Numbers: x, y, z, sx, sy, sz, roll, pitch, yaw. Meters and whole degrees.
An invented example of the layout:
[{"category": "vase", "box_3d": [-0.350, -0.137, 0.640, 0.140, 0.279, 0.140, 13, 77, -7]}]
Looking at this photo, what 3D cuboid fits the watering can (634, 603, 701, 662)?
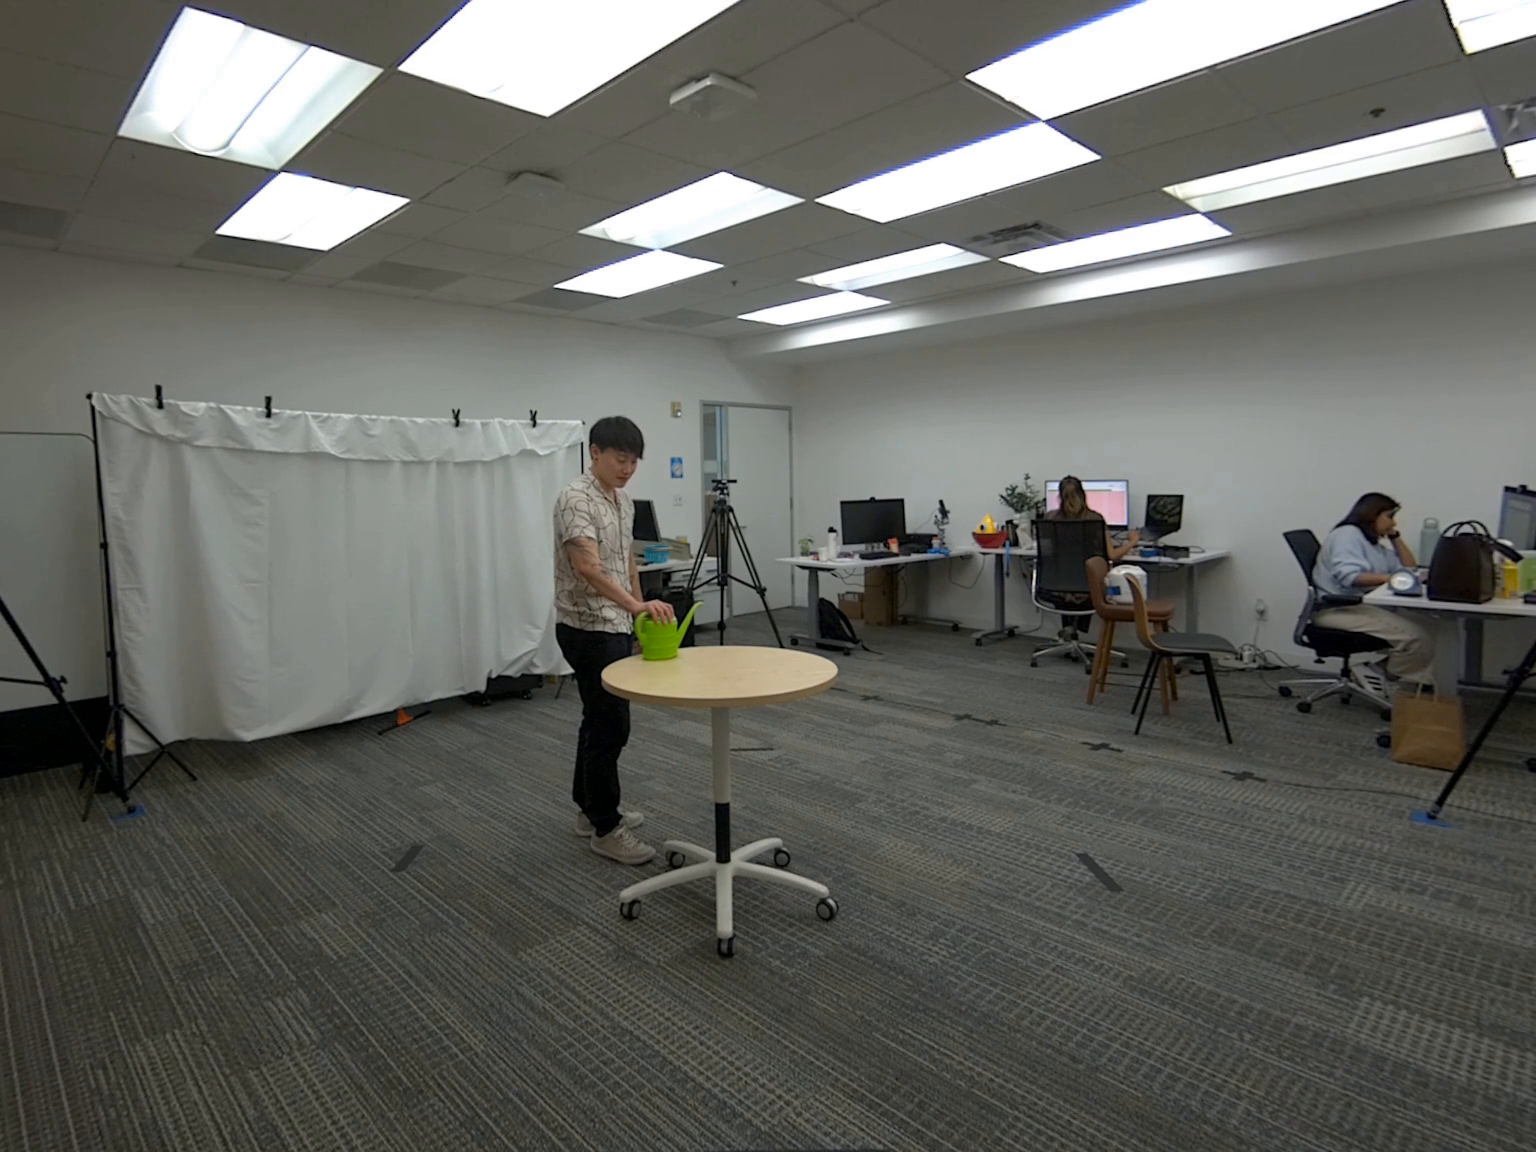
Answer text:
[{"category": "watering can", "box_3d": [-0.338, 0.197, 2.992, 0.273, 0.176, 0.100, -5, 8, -24]}]
